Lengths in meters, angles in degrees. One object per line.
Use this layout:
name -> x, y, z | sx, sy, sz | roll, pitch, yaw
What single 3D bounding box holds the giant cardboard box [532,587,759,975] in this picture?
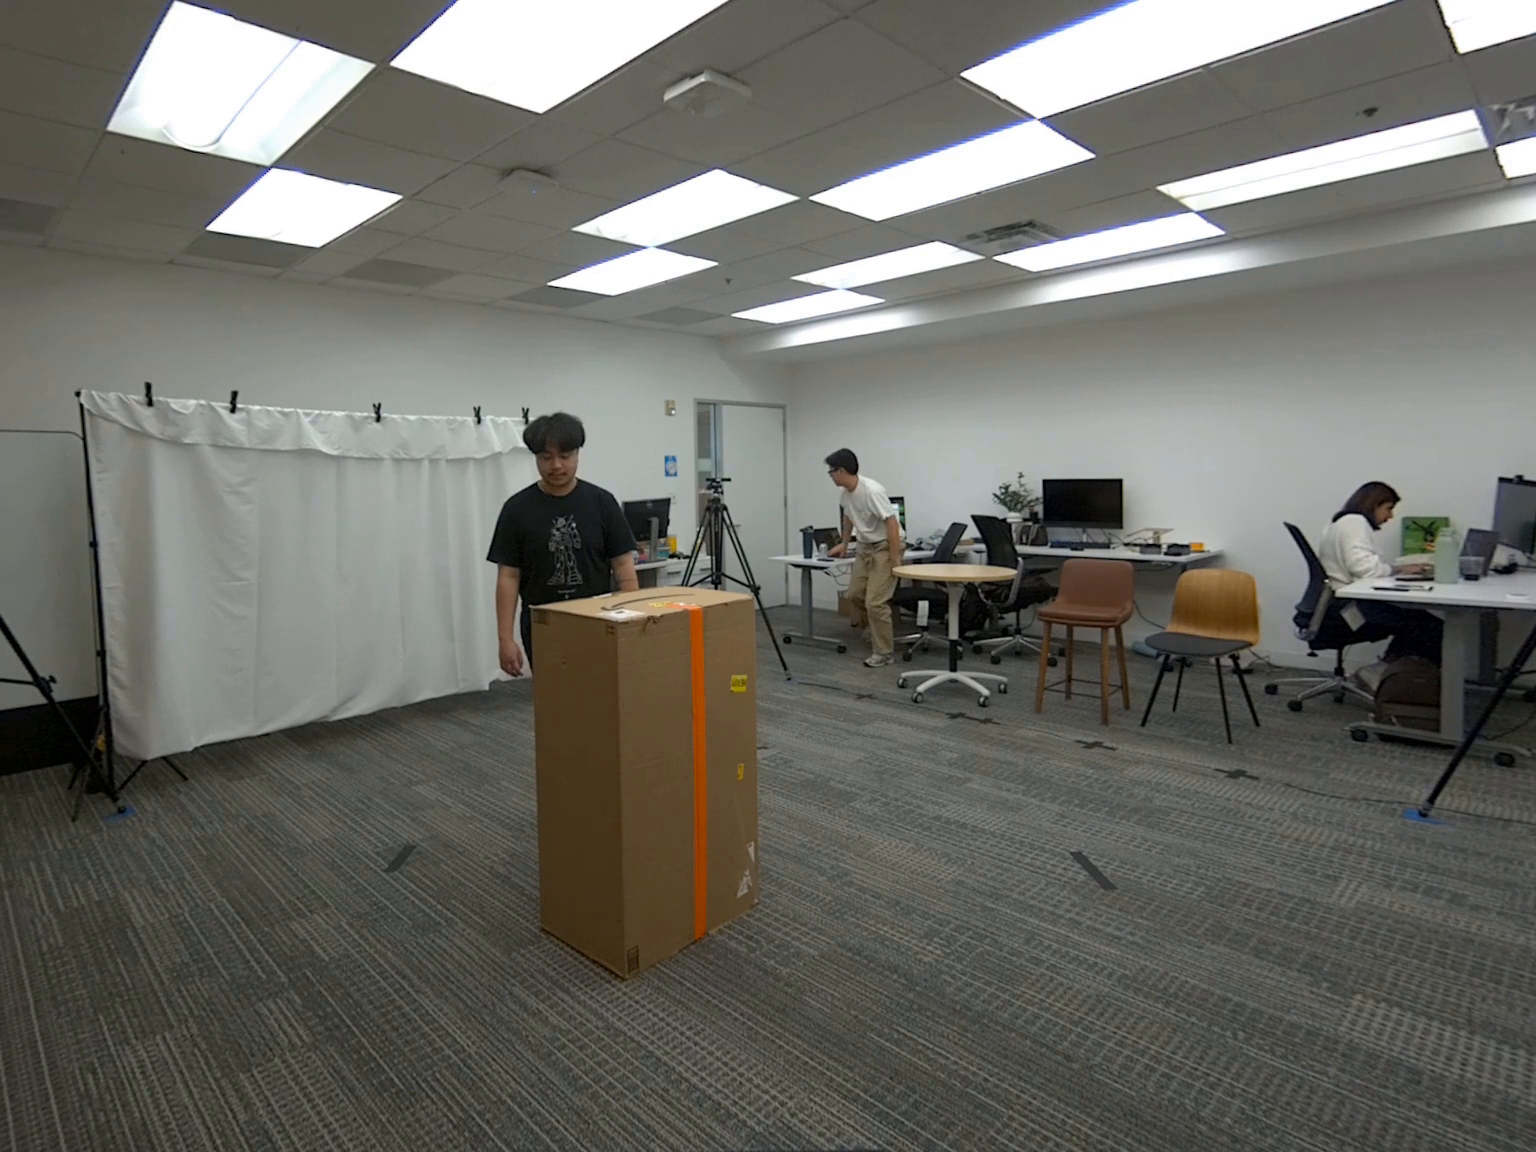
giant cardboard box -> -0.375, 0.585, 2.708 | 0.461, 1.023, 0.569 | 4, 6, 43
